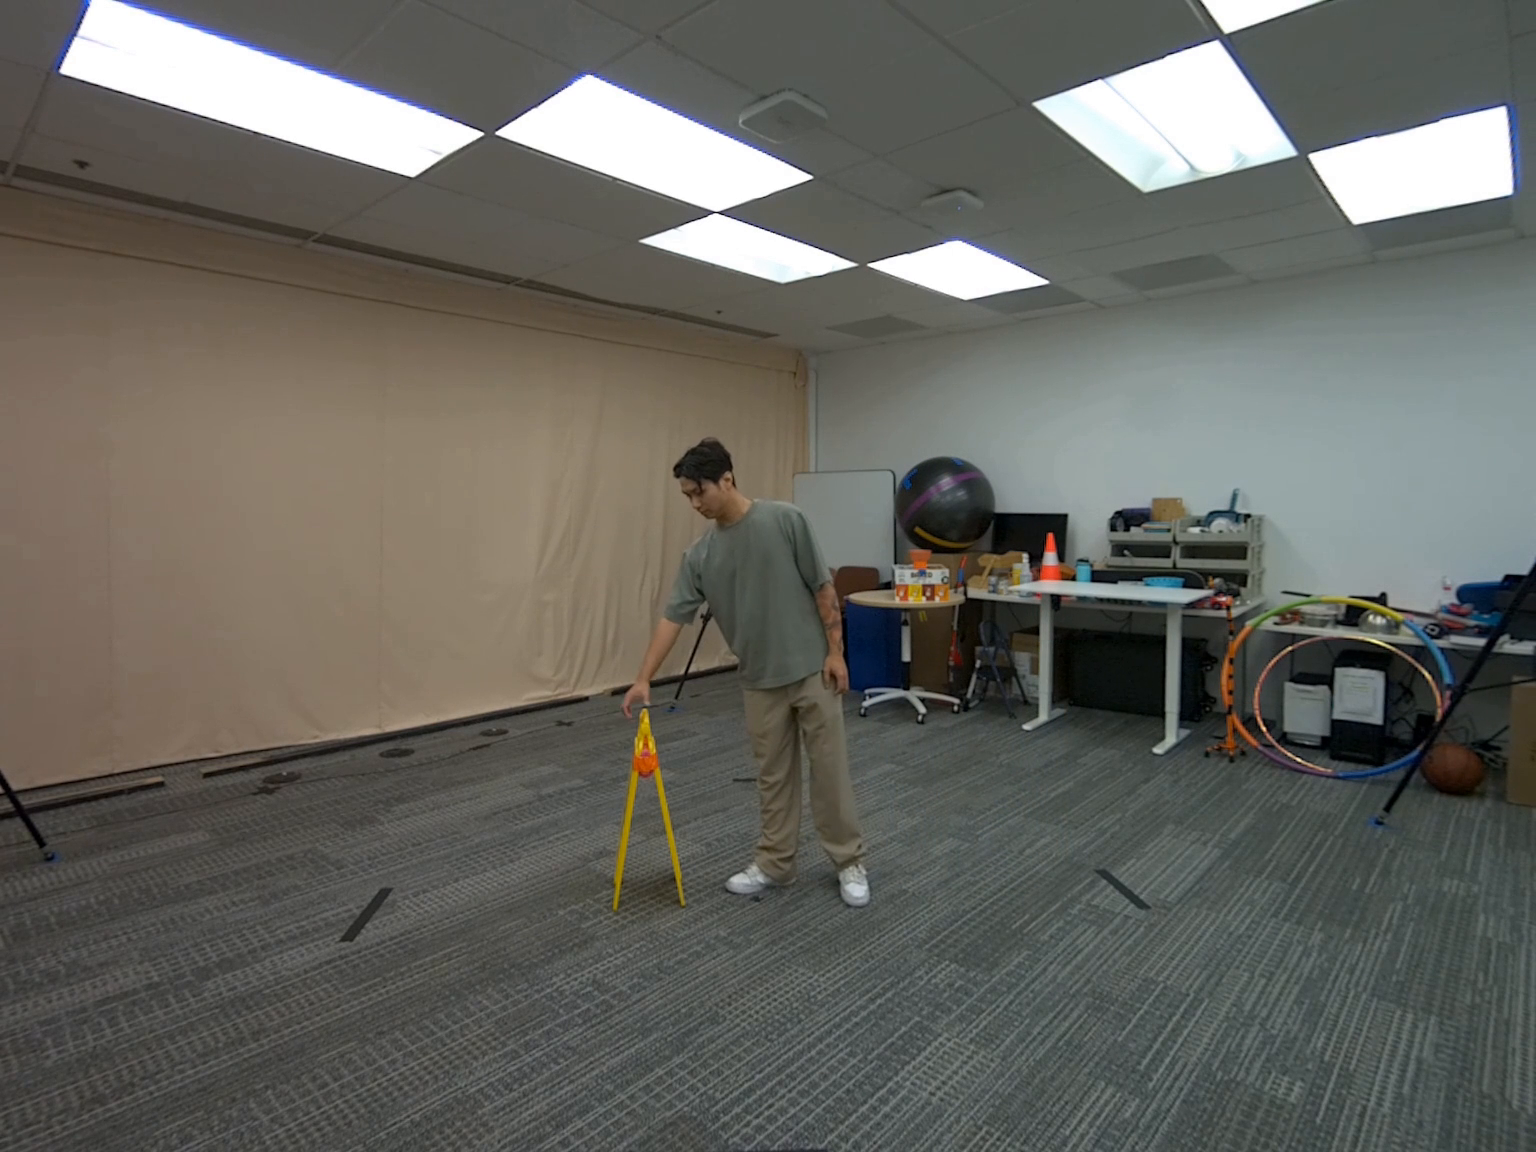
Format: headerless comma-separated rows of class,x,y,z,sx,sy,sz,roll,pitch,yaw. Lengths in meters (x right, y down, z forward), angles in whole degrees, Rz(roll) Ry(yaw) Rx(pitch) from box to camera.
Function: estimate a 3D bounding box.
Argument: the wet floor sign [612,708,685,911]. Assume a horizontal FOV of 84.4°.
wet floor sign,-0.433,0.821,3.034,0.287,0.645,0.285,-1,2,-8
